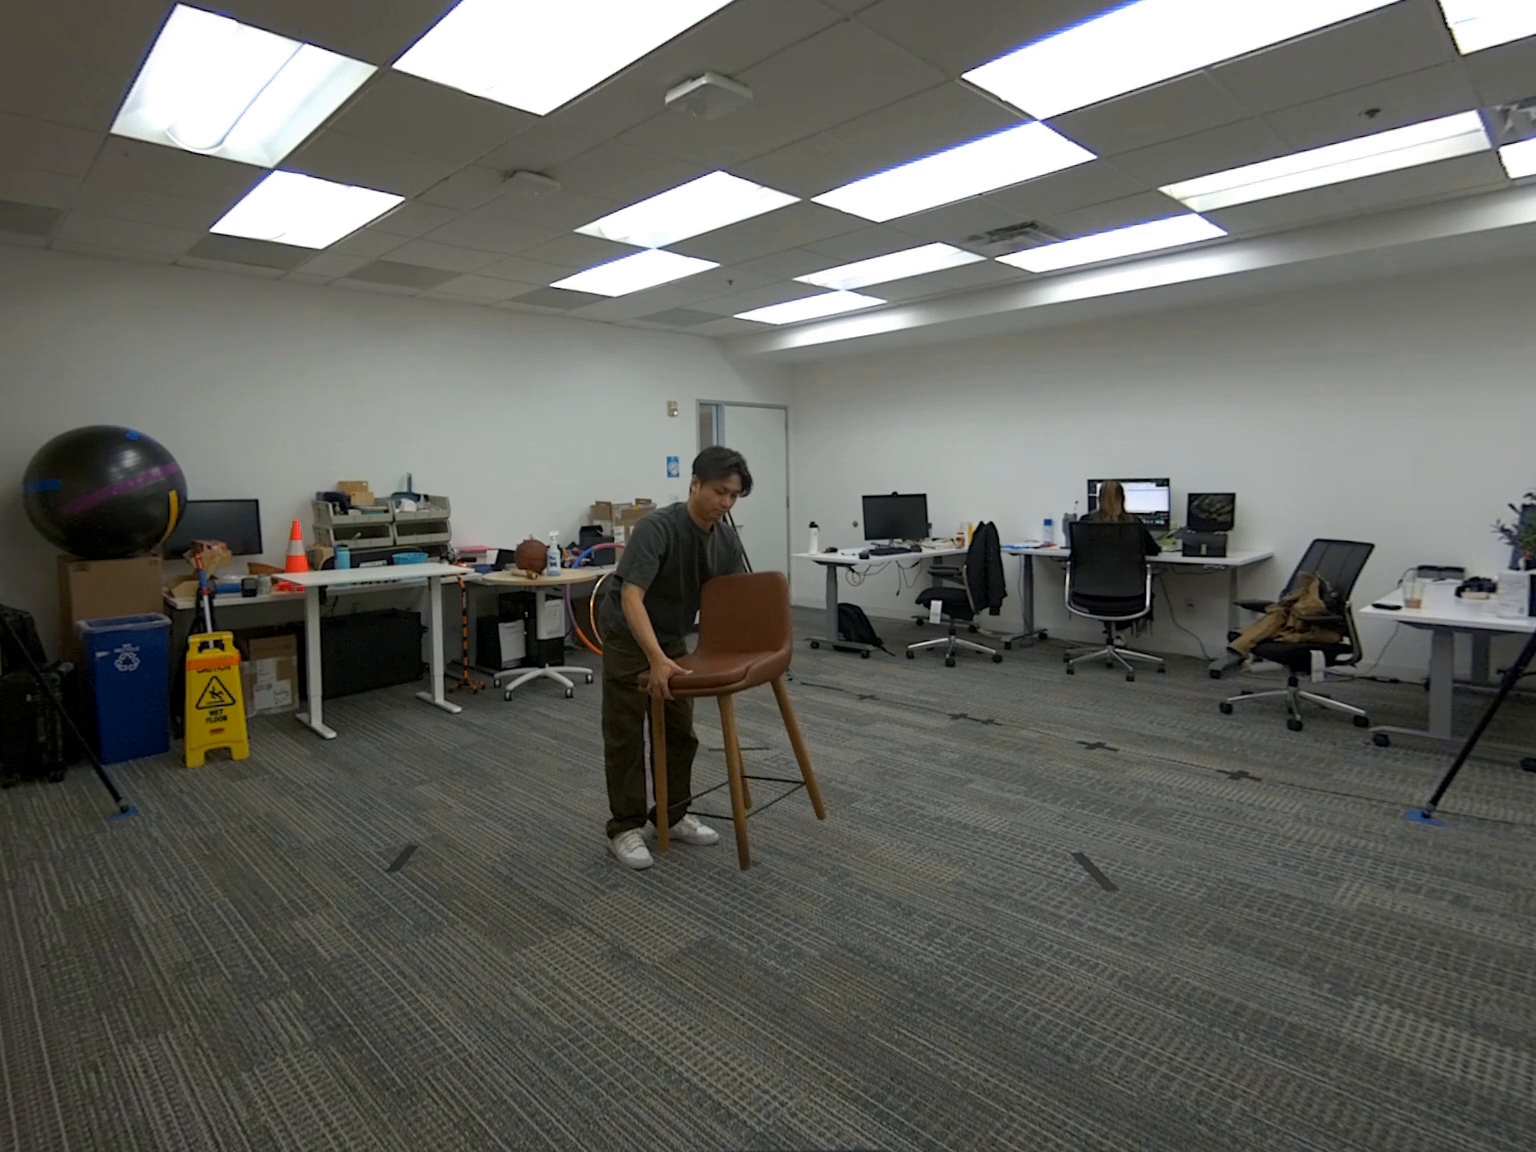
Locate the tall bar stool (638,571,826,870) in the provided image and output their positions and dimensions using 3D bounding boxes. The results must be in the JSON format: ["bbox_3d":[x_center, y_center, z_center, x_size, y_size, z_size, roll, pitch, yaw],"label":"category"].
[{"bbox_3d":[-0.134,0.467,2.914,0.468,0.890,0.456,-9,0,42],"label":"tall bar stool"}]
